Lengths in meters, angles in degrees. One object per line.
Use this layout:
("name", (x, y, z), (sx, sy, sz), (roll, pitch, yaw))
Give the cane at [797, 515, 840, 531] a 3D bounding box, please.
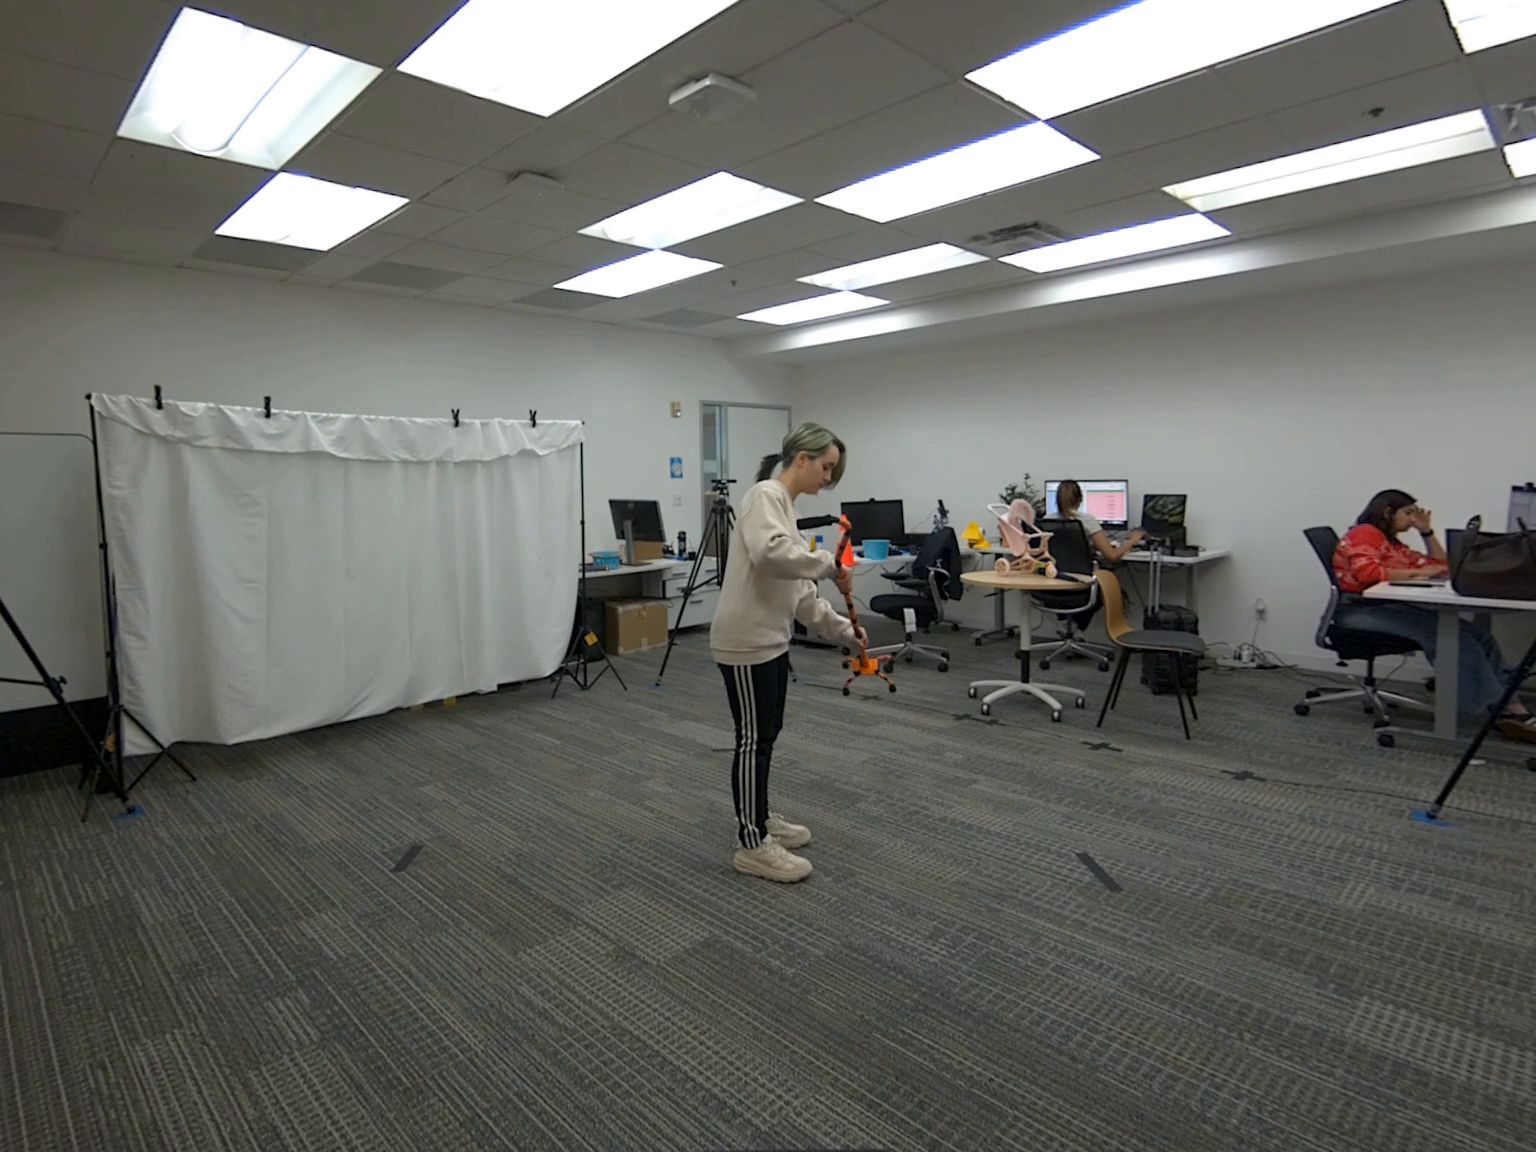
("cane", (0.302, 0.111, 2.961), (0.208, 0.155, 0.876), (-7, -42, 11))
